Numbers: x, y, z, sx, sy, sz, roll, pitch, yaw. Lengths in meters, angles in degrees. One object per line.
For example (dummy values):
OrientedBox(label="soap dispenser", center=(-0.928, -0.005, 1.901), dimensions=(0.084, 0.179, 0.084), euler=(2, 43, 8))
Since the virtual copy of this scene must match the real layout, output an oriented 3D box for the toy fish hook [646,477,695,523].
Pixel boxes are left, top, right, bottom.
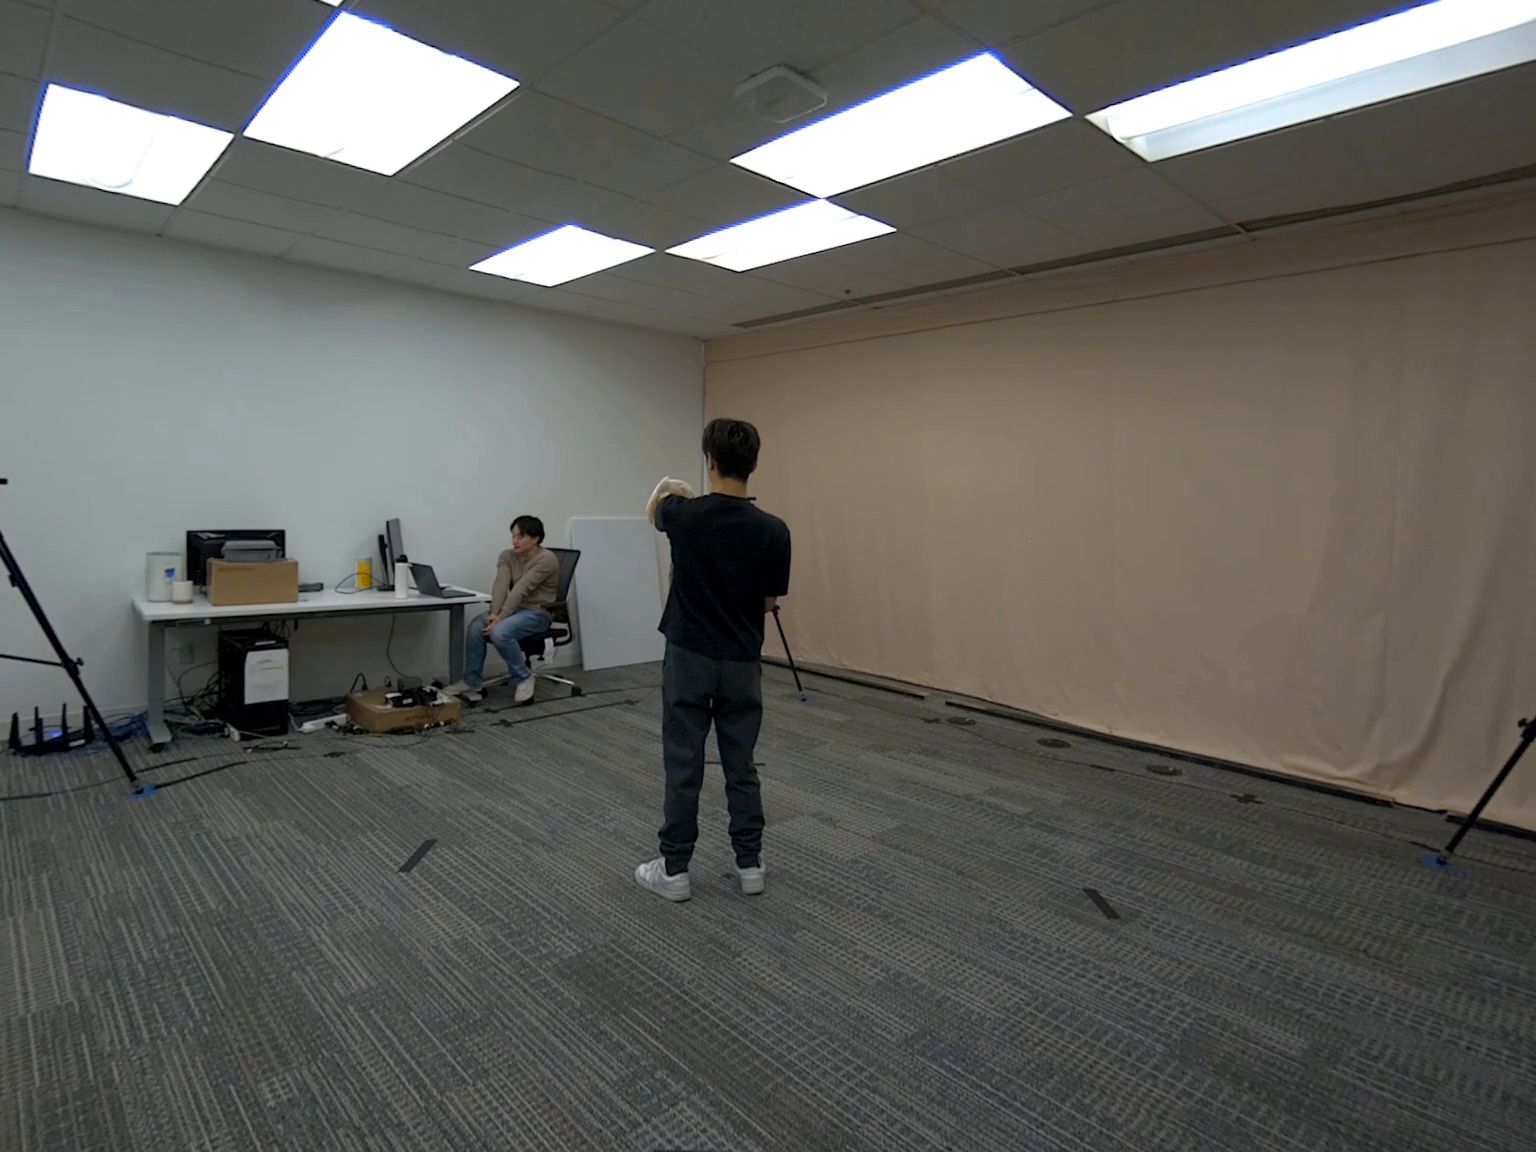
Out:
OrientedBox(label="toy fish hook", center=(-0.397, -0.126, 3.254), dimensions=(0.219, 0.510, 0.049), euler=(14, -14, -32))
